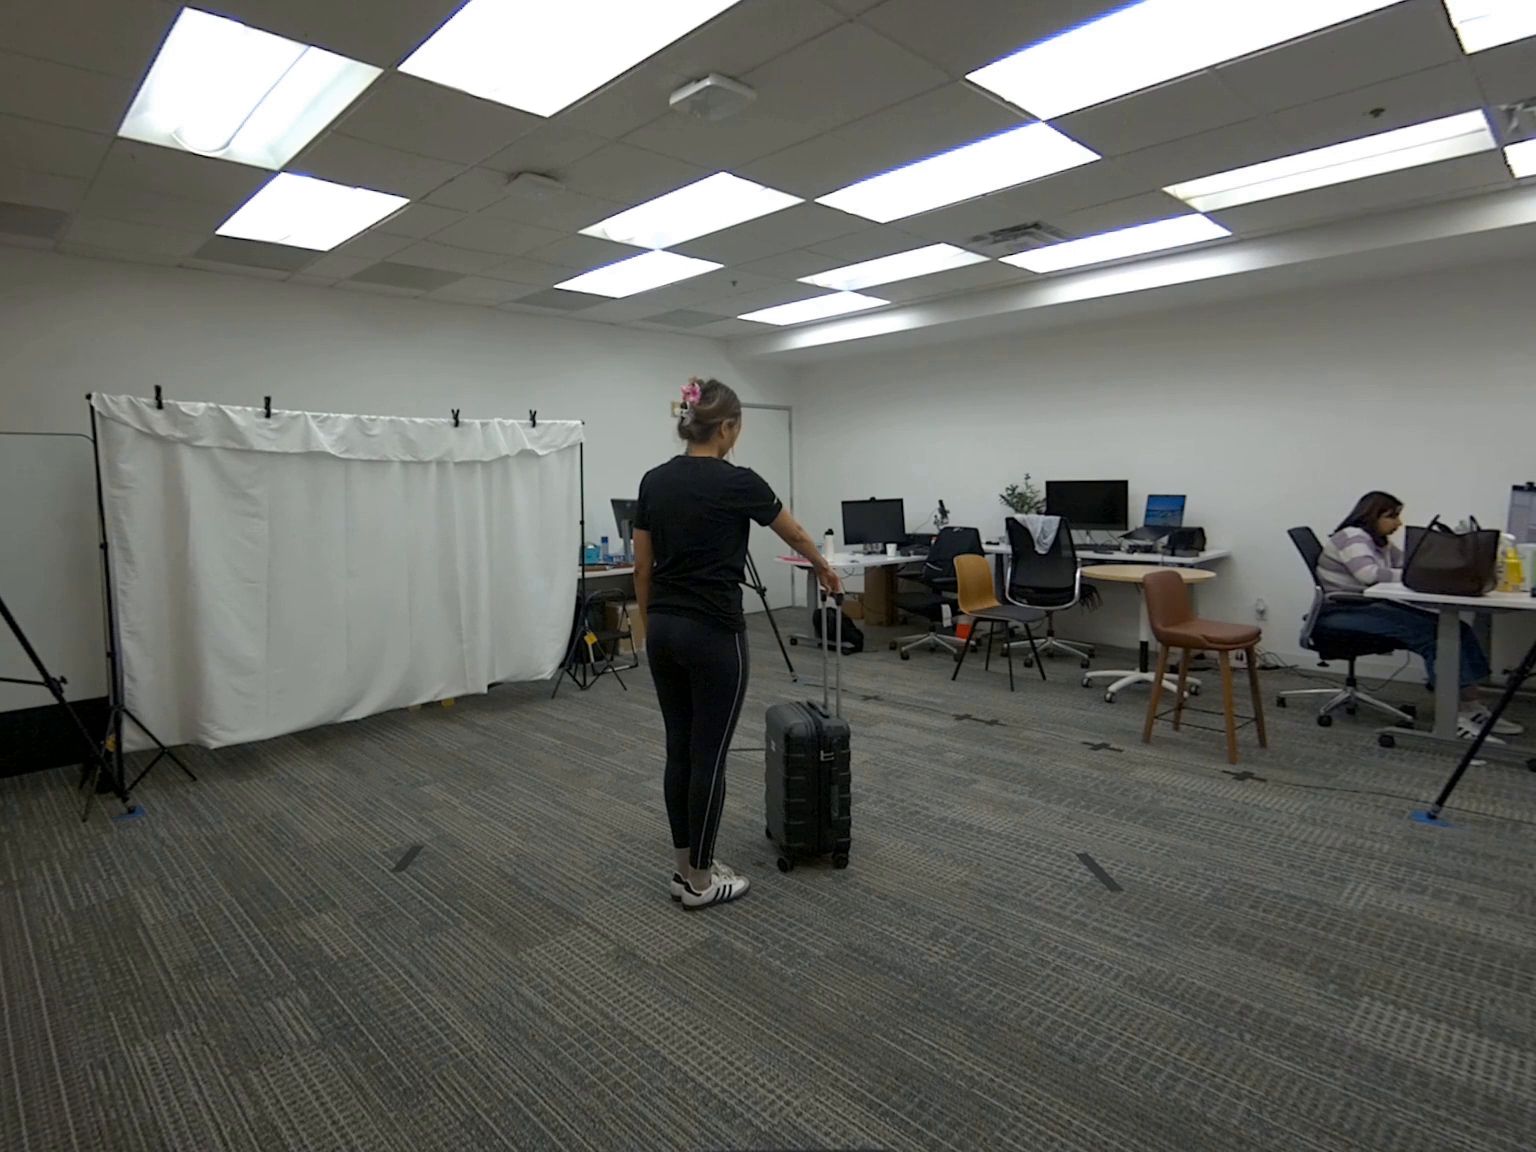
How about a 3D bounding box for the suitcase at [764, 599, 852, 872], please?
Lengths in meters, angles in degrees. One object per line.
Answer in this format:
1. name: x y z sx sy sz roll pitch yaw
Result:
1. suitcase: 0.142 0.561 3.175 0.255 0.976 0.389 -2 3 -11
